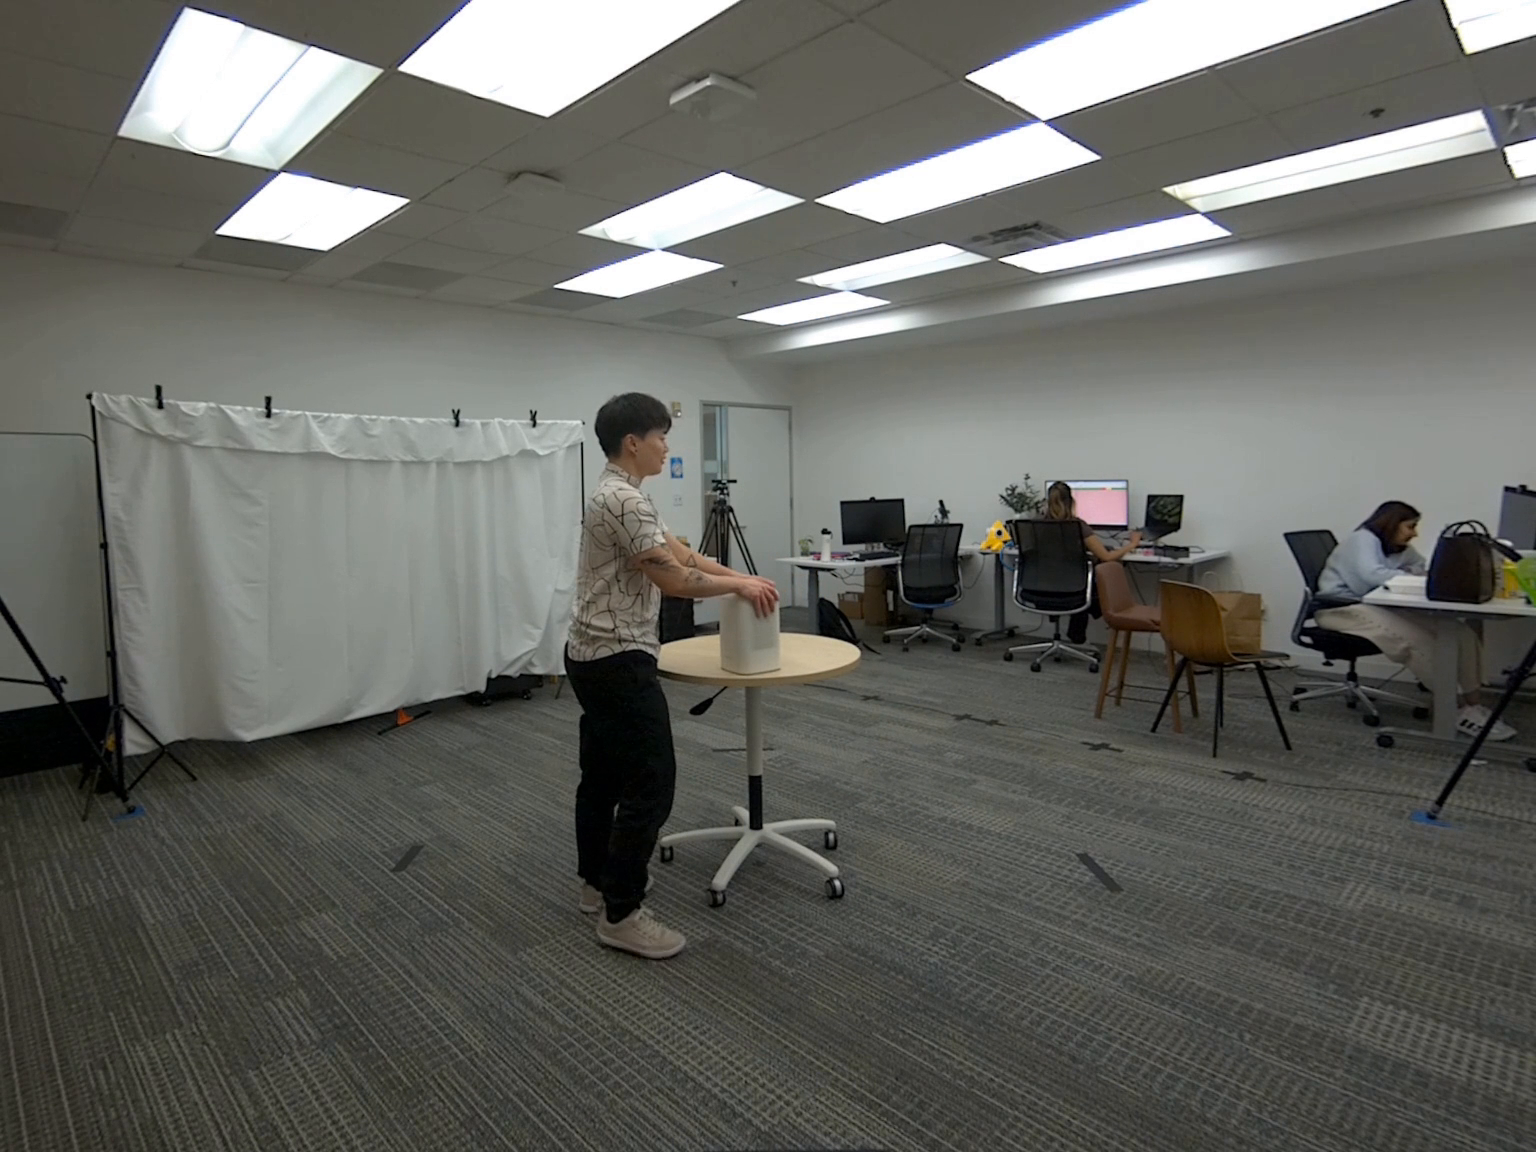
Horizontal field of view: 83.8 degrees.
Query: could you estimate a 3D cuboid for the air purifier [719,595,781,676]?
[{"bbox_3d":[-0.062,0.171,2.794,0.167,0.264,0.176,-5,6,-31],"label":"air purifier"}]
